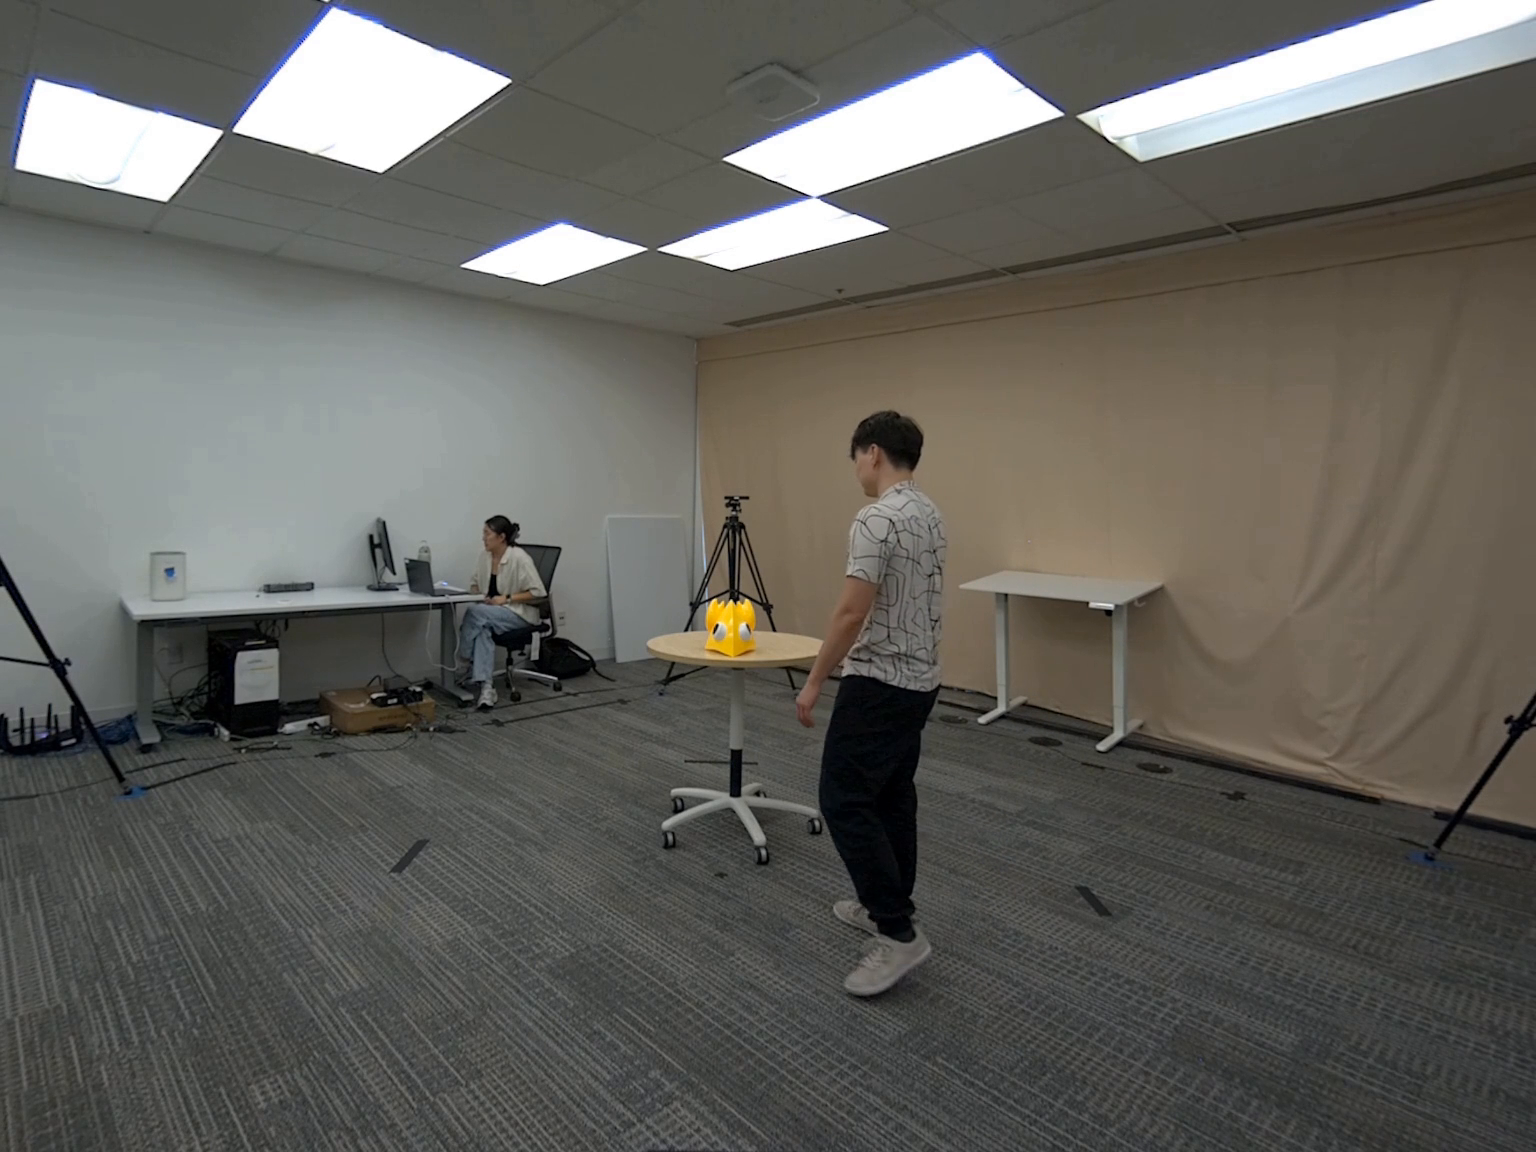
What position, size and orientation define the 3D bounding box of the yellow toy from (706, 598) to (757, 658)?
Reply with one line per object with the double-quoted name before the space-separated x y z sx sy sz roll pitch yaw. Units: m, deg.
"yellow toy" -0.147 0.213 3.293 0.204 0.191 0.234 1 16 -5
